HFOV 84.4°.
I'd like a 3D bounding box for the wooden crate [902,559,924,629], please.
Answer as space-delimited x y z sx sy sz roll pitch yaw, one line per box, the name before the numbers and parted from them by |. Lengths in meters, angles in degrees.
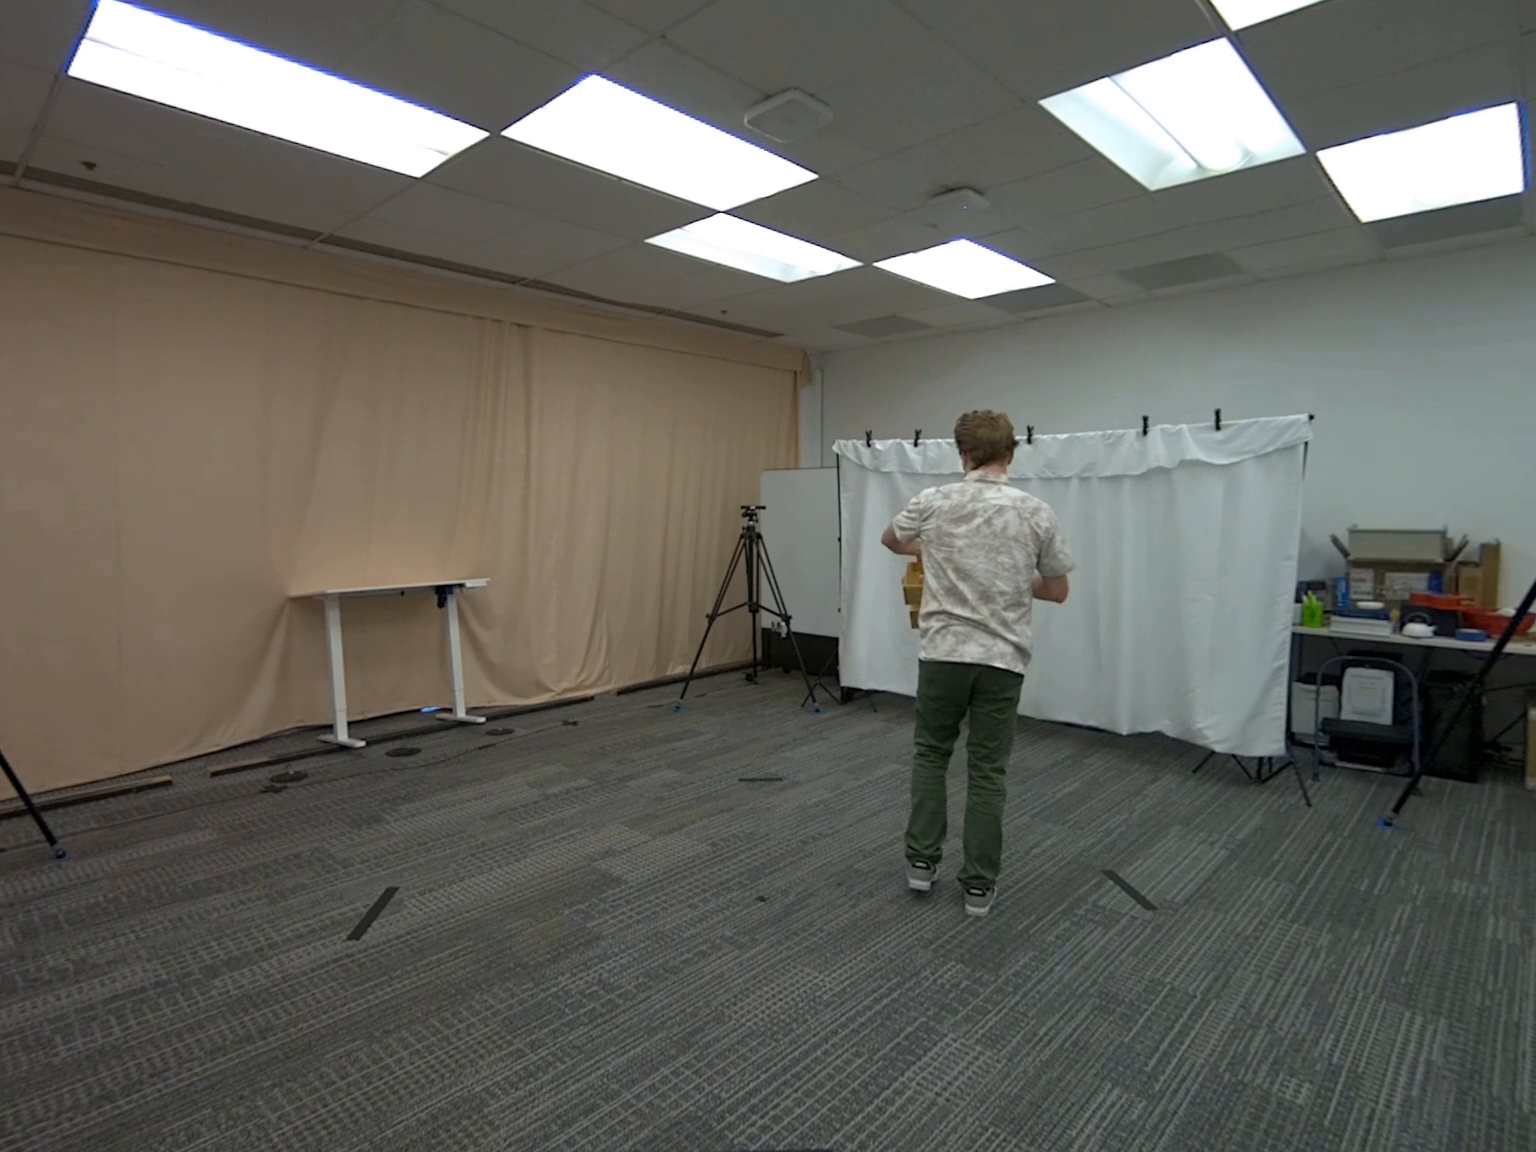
wooden crate | 0.725 0.045 3.302 0.331 0.266 0.303 0 37 21
